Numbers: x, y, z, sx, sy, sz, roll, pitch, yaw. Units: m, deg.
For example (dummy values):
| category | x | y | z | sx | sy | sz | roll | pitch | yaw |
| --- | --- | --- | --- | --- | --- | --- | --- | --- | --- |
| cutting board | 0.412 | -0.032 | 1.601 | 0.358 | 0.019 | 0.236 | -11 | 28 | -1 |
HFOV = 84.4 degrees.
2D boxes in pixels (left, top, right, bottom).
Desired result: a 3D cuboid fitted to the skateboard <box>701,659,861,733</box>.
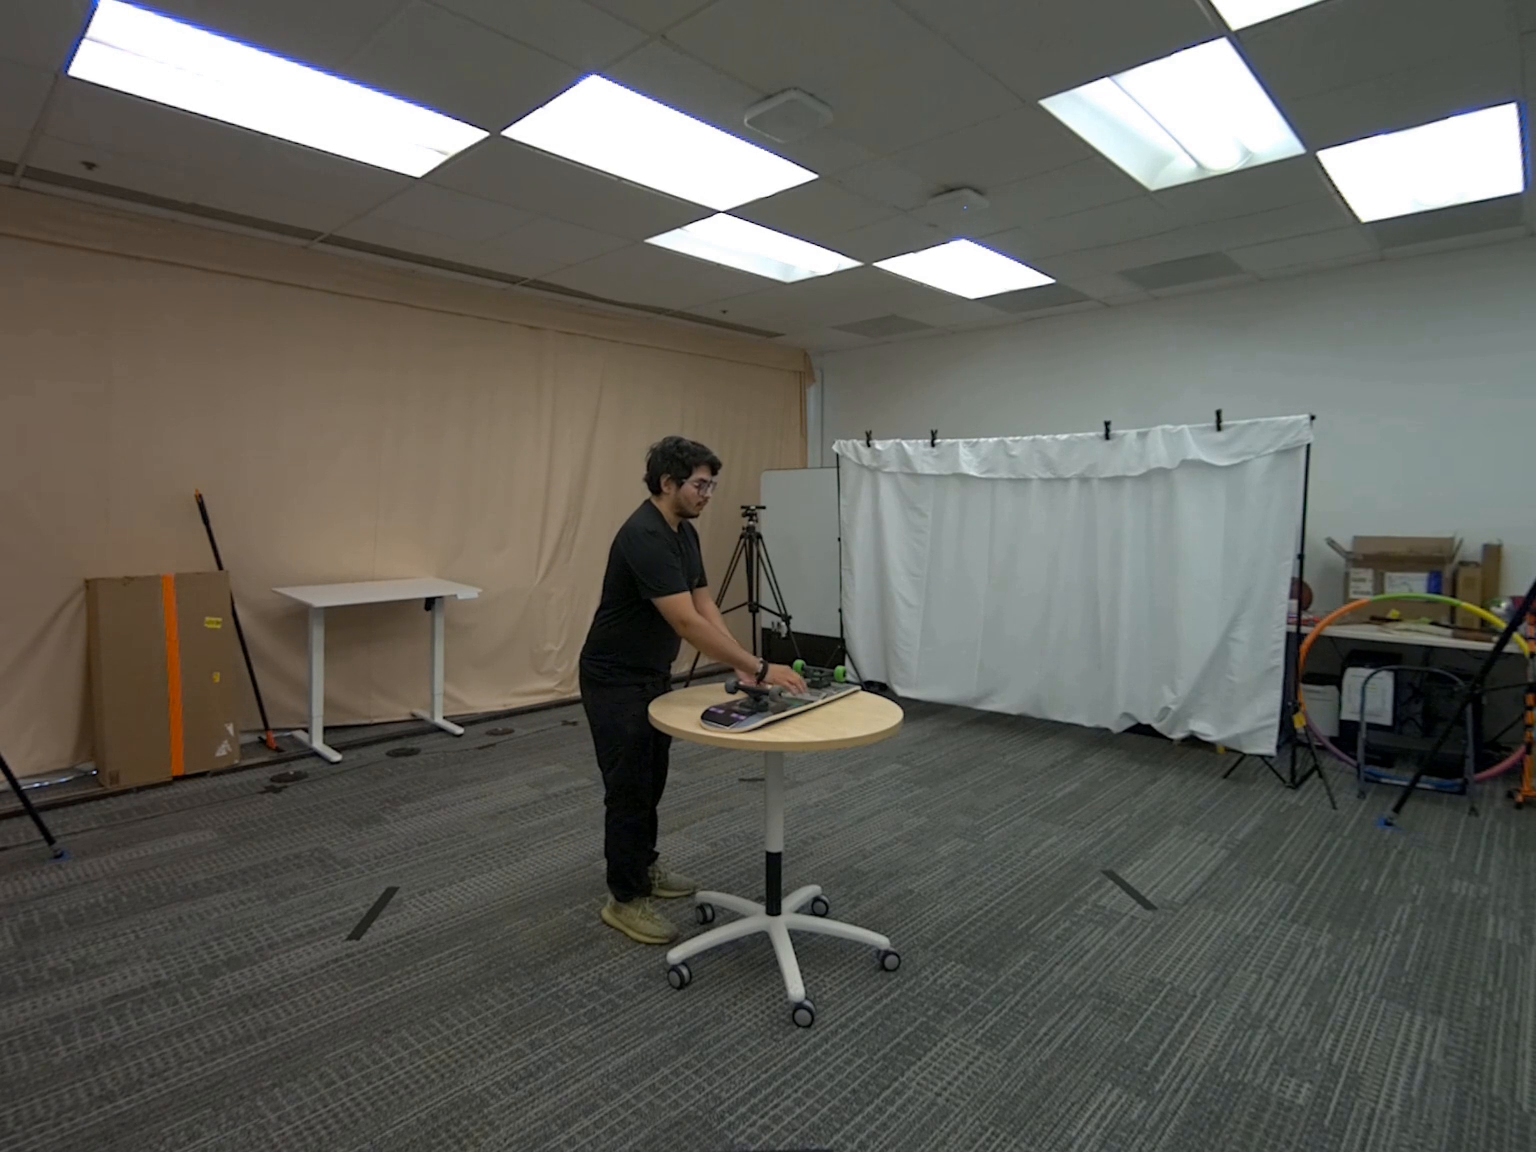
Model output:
| category | x | y | z | sx | sy | sz | roll | pitch | yaw |
| --- | --- | --- | --- | --- | --- | --- | --- | --- | --- |
| skateboard | 0.069 | 0.353 | 2.567 | 0.199 | 0.110 | 0.762 | 0 | 3 | 35 |
